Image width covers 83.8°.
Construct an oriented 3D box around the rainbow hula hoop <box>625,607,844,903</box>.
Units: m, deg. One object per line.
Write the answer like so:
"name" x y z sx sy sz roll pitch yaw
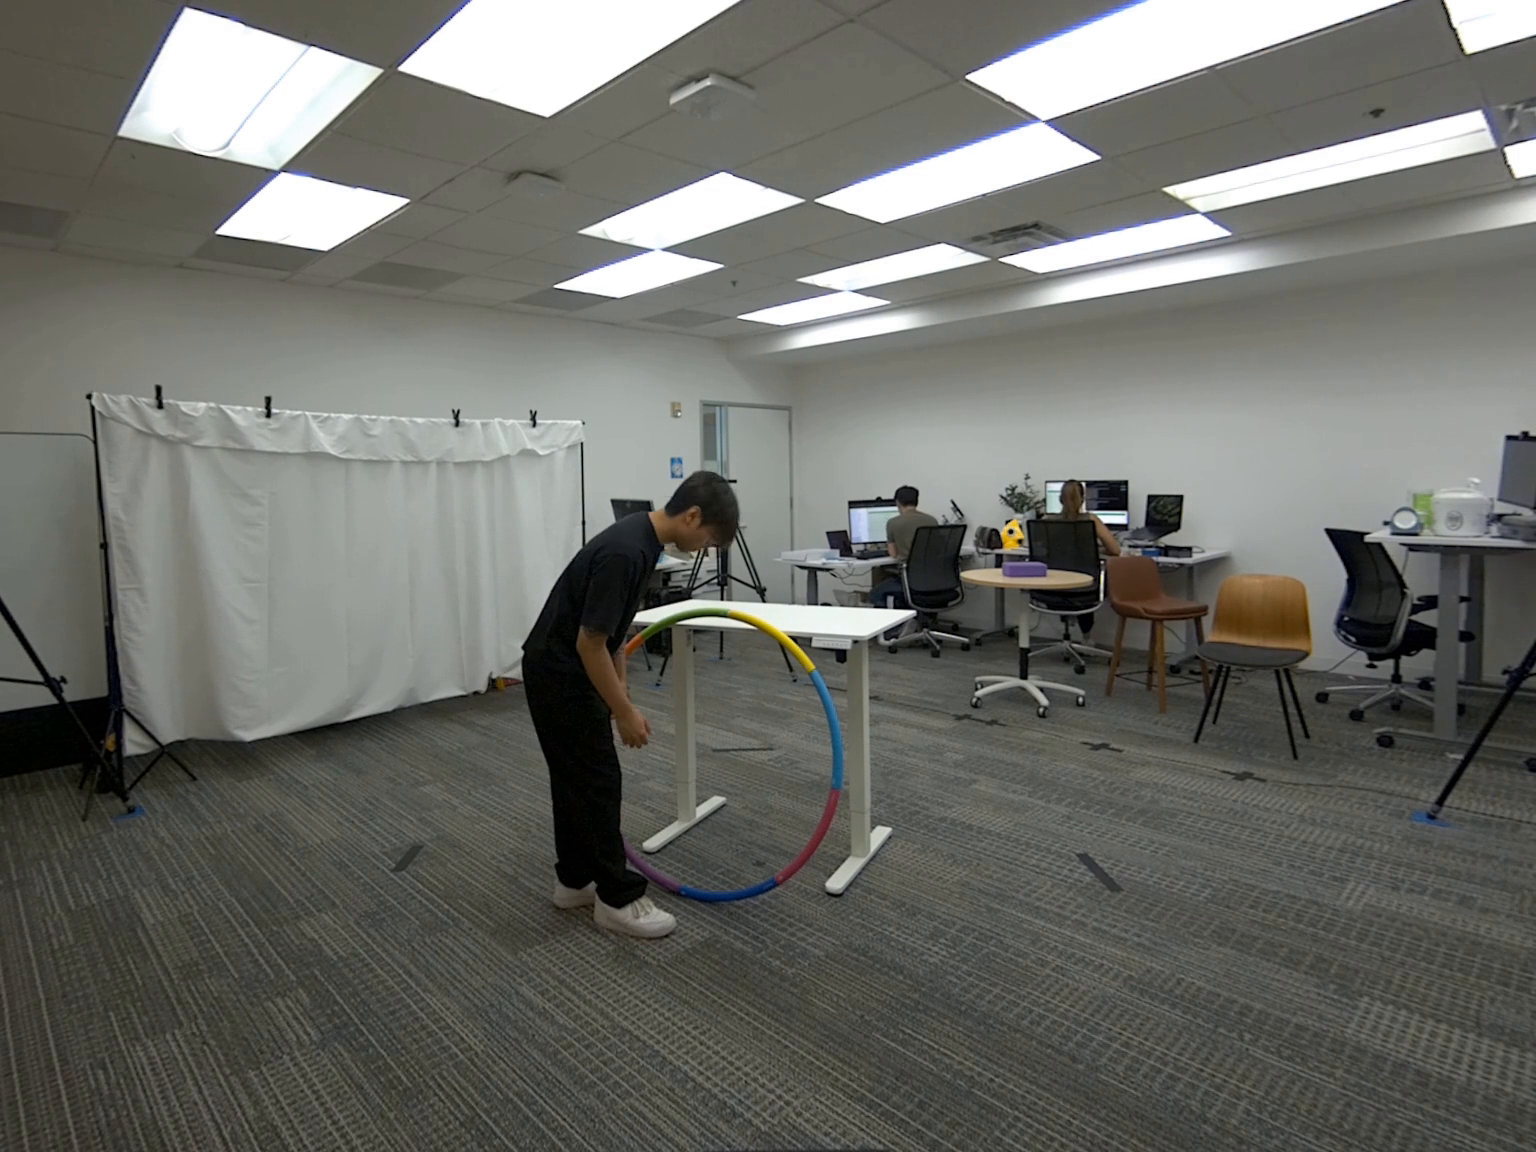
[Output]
"rainbow hula hoop" -0.218 0.598 2.919 1.003 0.984 0.034 1 -8 28
